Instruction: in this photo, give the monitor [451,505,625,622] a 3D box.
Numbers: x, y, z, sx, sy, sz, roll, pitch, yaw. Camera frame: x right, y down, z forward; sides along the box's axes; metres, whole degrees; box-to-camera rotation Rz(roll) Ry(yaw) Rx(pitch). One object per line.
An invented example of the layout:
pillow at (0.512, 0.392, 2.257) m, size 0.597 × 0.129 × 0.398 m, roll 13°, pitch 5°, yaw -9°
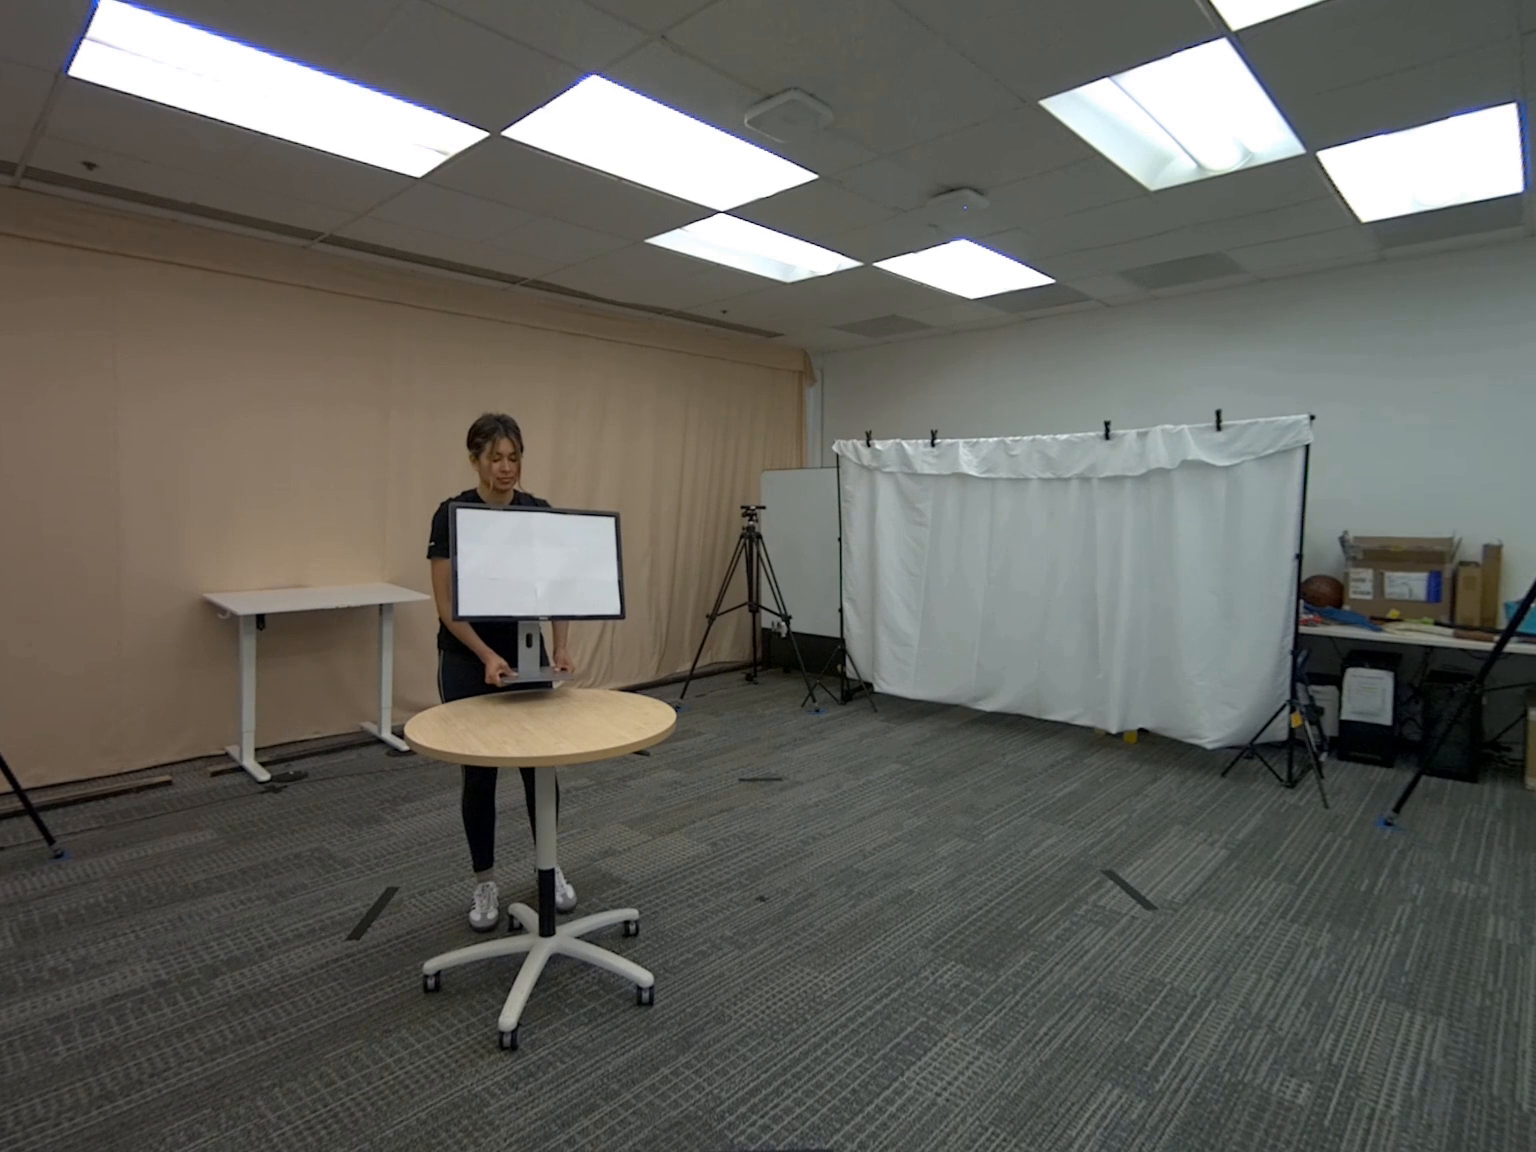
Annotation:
monitor at (-0.740, 0.046, 2.682) m, size 0.523 × 0.523 × 0.192 m, roll 2°, pitch -1°, yaw -33°
